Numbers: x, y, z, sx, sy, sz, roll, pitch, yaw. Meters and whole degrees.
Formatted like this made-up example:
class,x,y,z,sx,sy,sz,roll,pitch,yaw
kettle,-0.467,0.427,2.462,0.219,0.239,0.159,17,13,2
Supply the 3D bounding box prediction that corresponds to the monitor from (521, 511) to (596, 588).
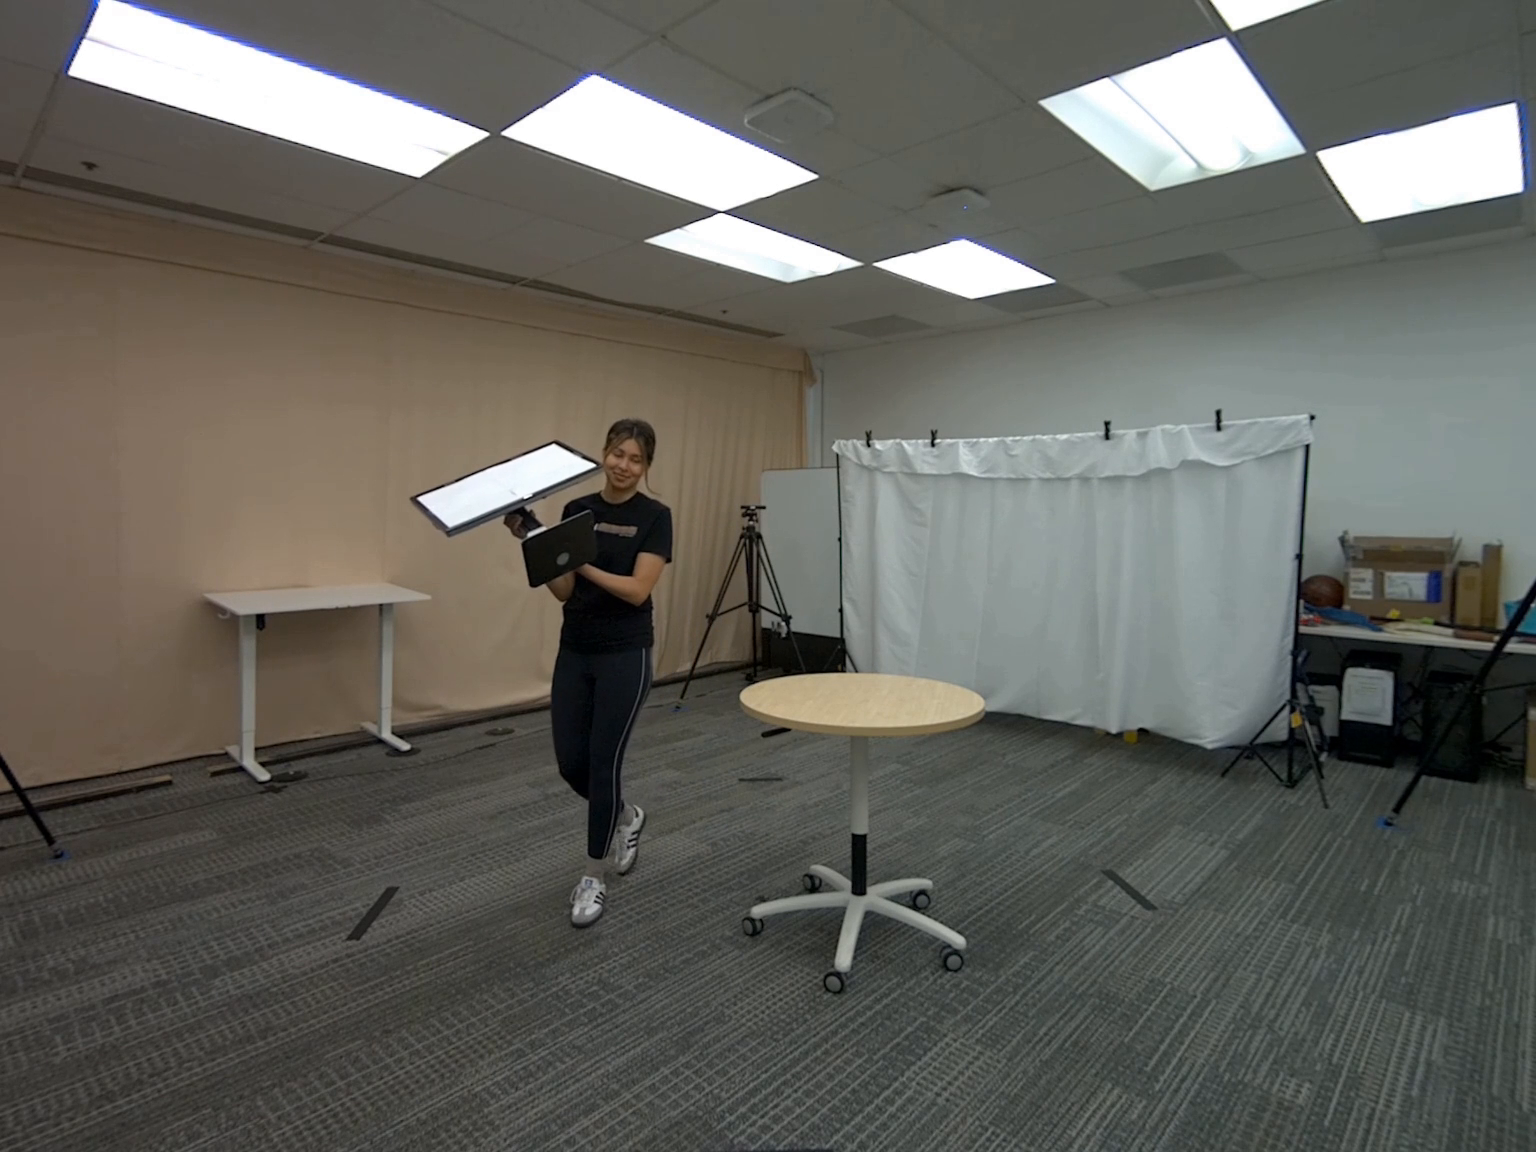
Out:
class,x,y,z,sx,sy,sz,roll,pitch,yaw
monitor,-0.814,-0.227,2.763,0.530,0.184,0.540,-28,51,-29
